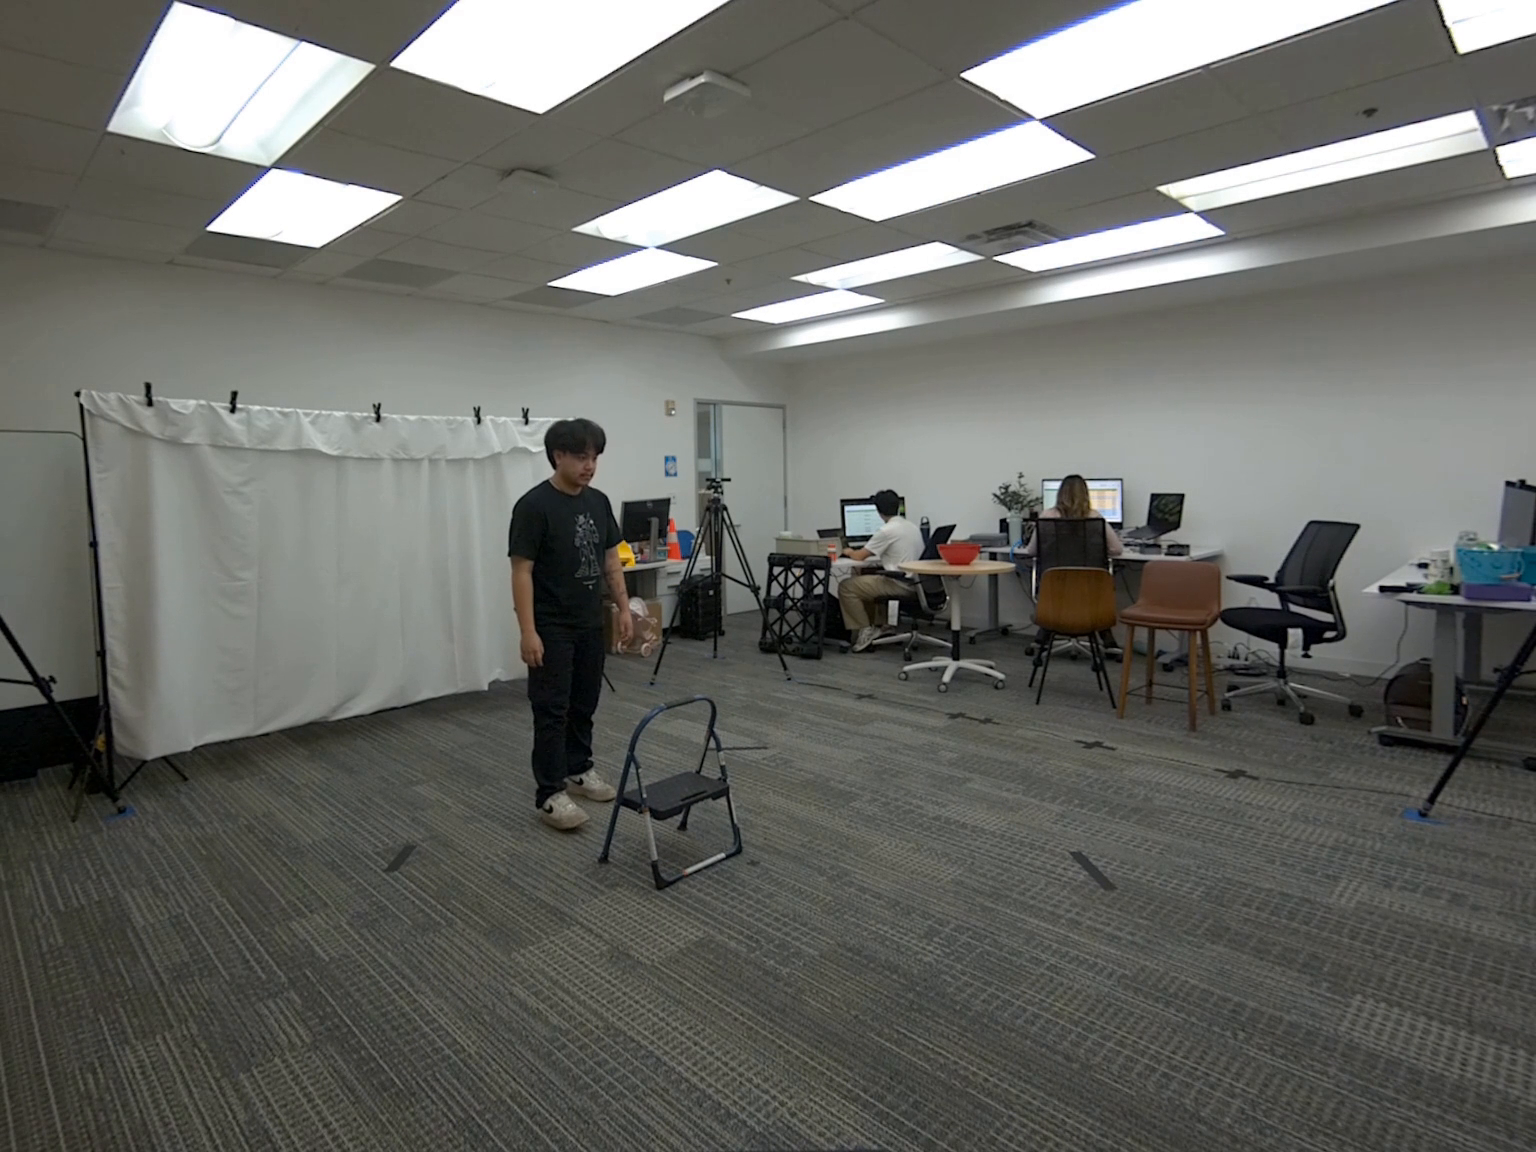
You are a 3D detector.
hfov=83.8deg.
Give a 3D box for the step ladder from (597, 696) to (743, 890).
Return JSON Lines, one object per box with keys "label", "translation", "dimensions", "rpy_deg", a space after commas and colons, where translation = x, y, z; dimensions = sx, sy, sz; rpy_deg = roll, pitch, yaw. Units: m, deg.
{"label": "step ladder", "translation": [-0.362, 0.739, 3.148], "dimensions": [0.360, 0.604, 0.419], "rpy_deg": [2, 6, 43]}
